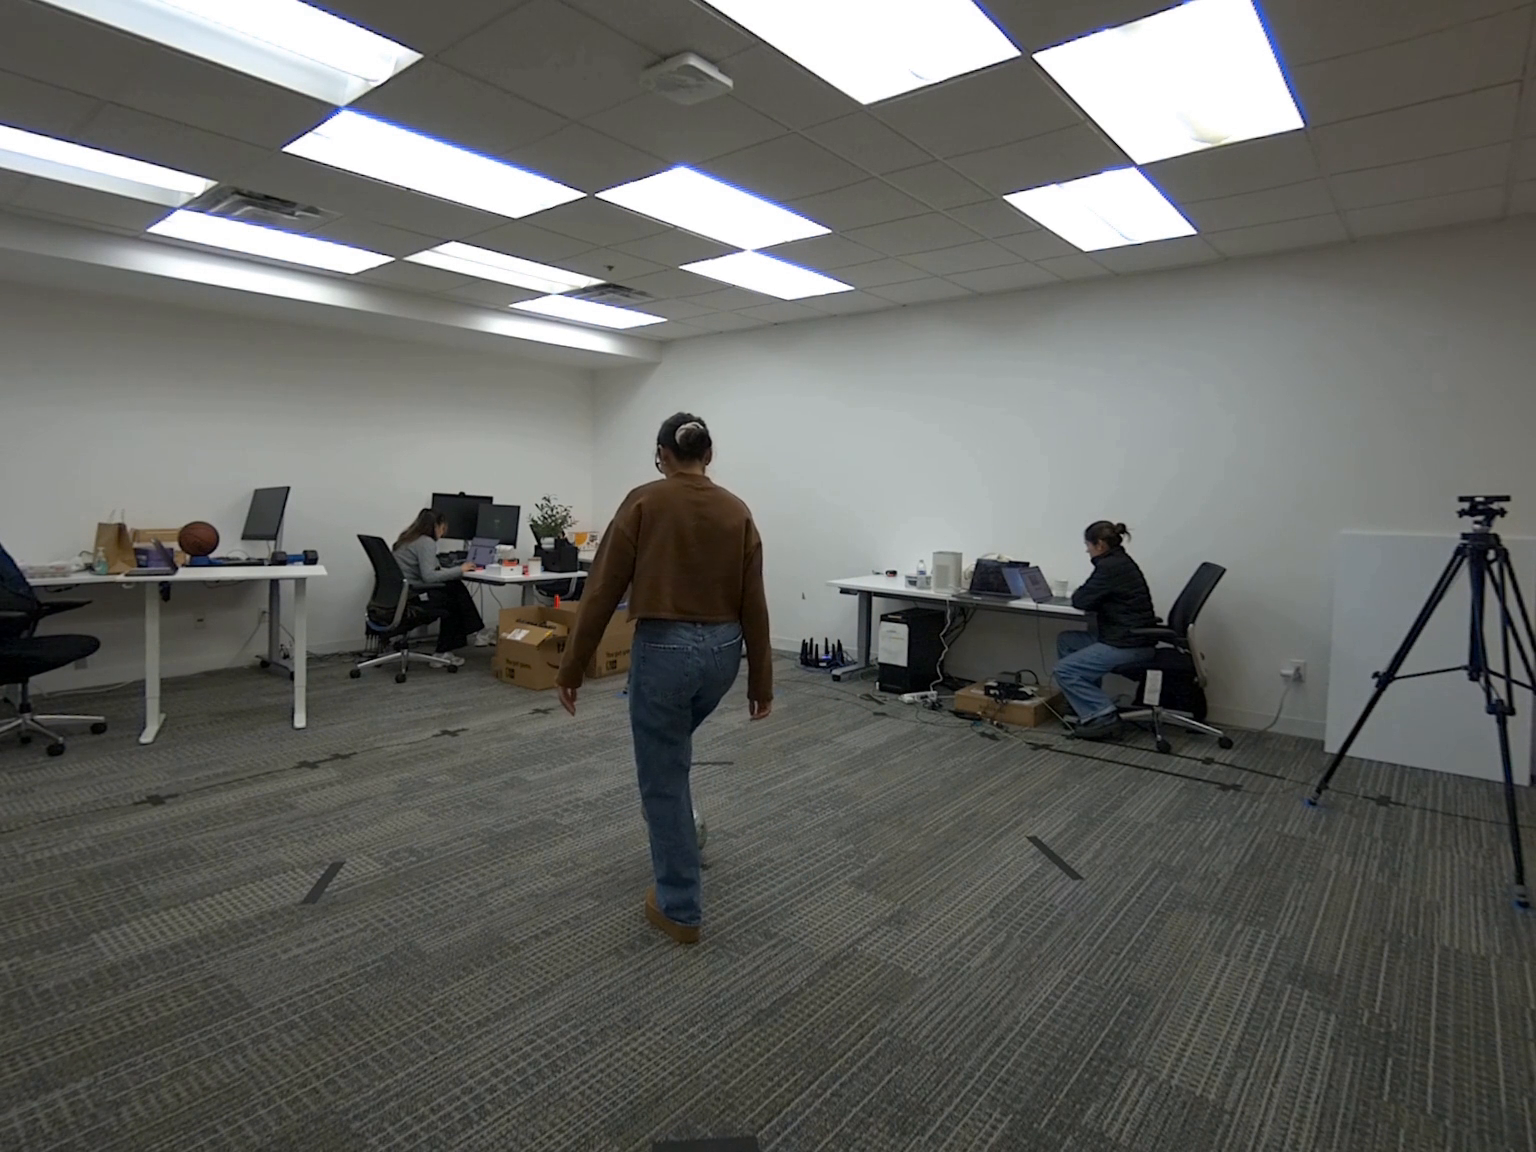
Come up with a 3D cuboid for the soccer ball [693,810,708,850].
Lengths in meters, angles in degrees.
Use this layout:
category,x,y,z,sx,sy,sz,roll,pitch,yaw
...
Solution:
category,x,y,z,sx,sy,sz,roll,pitch,yaw
soccer ball,-0.316,0.954,3.191,0.187,0.187,0.188,1,4,-2
